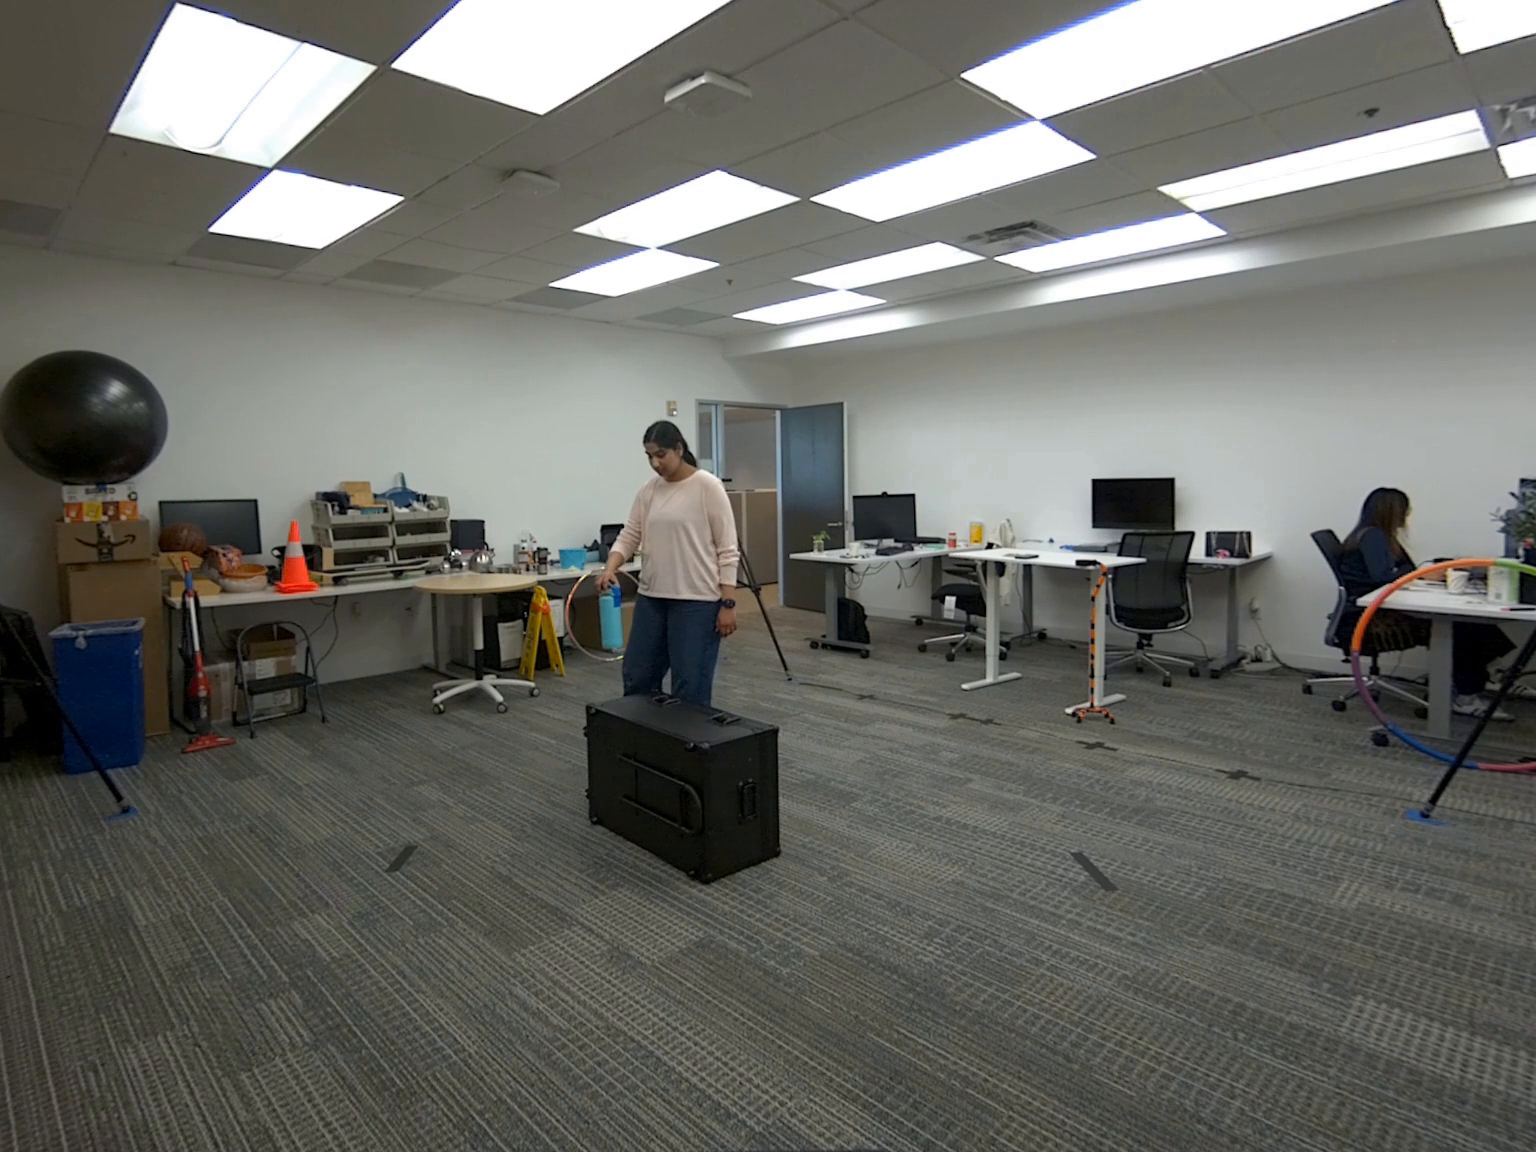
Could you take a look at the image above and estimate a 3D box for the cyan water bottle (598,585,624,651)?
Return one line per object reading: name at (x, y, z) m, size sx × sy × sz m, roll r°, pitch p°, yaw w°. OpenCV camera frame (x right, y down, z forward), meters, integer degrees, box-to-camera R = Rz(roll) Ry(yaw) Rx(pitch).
cyan water bottle at (-0.691, 0.170, 3.728) m, size 0.092 × 0.283 × 0.092 m, roll -2°, pitch 1°, yaw -2°
